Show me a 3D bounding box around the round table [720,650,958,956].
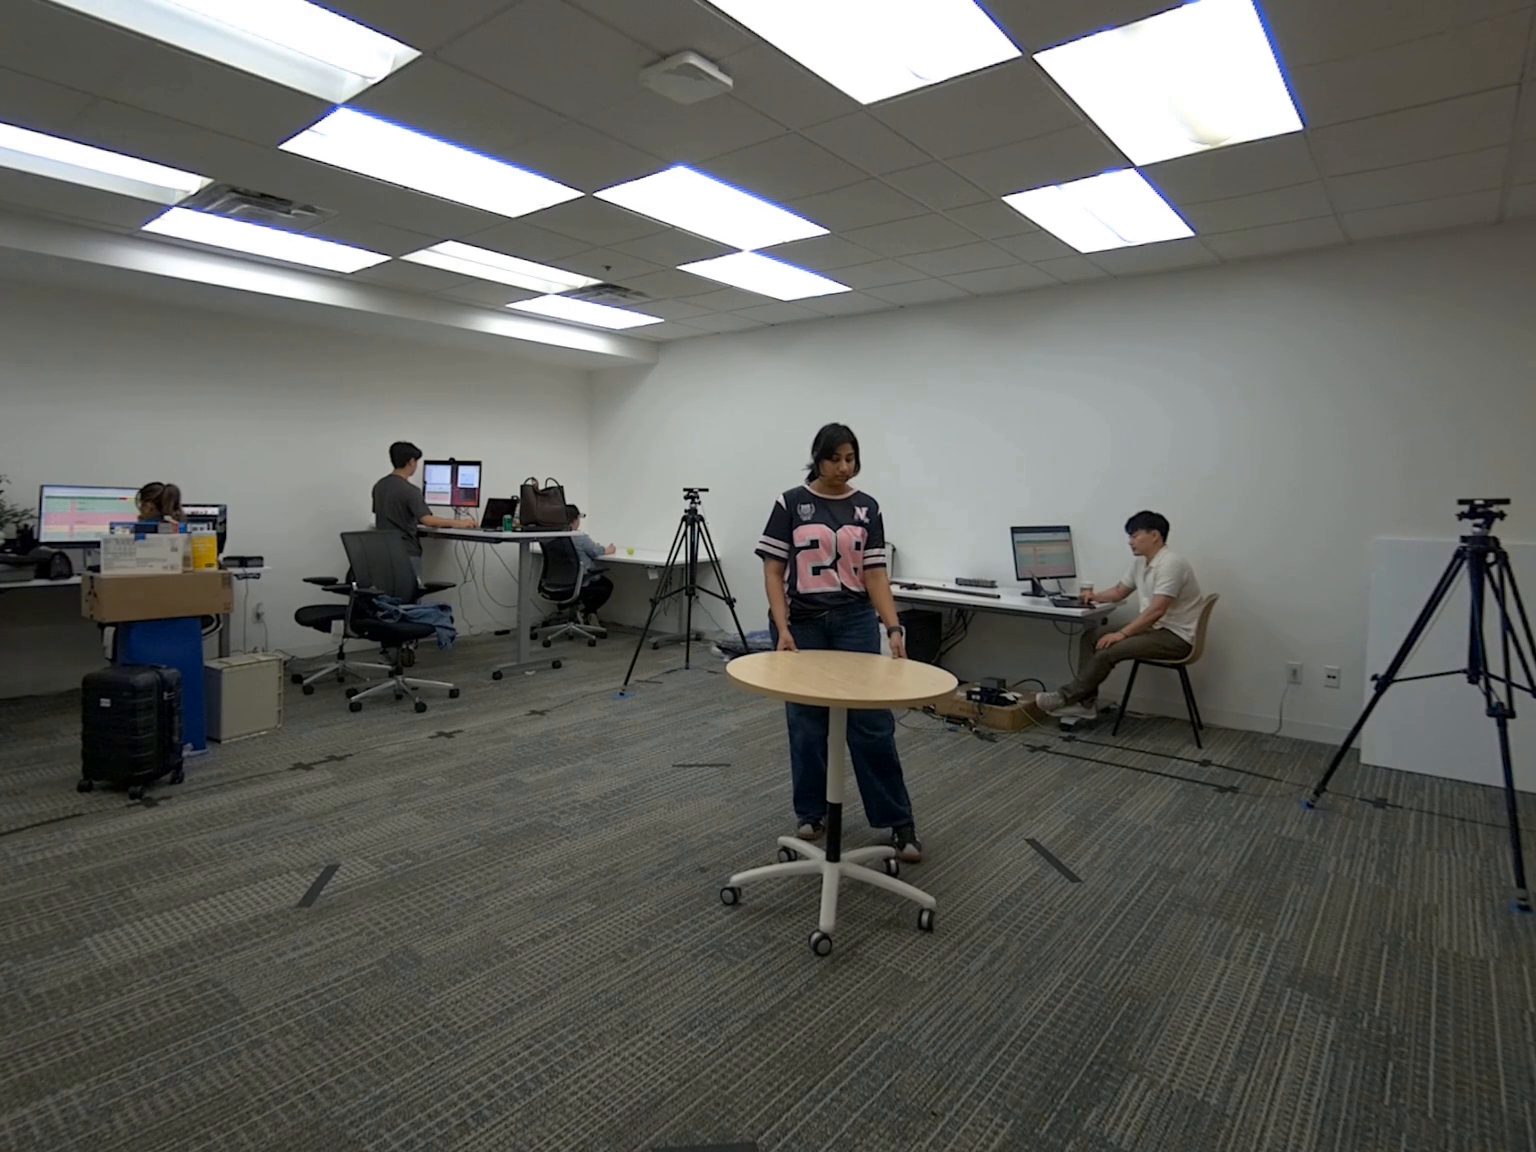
[{"bbox_3d":[0.213,0.714,2.875,0.763,0.792,0.767,2,4,-2],"label":"round table"}]
